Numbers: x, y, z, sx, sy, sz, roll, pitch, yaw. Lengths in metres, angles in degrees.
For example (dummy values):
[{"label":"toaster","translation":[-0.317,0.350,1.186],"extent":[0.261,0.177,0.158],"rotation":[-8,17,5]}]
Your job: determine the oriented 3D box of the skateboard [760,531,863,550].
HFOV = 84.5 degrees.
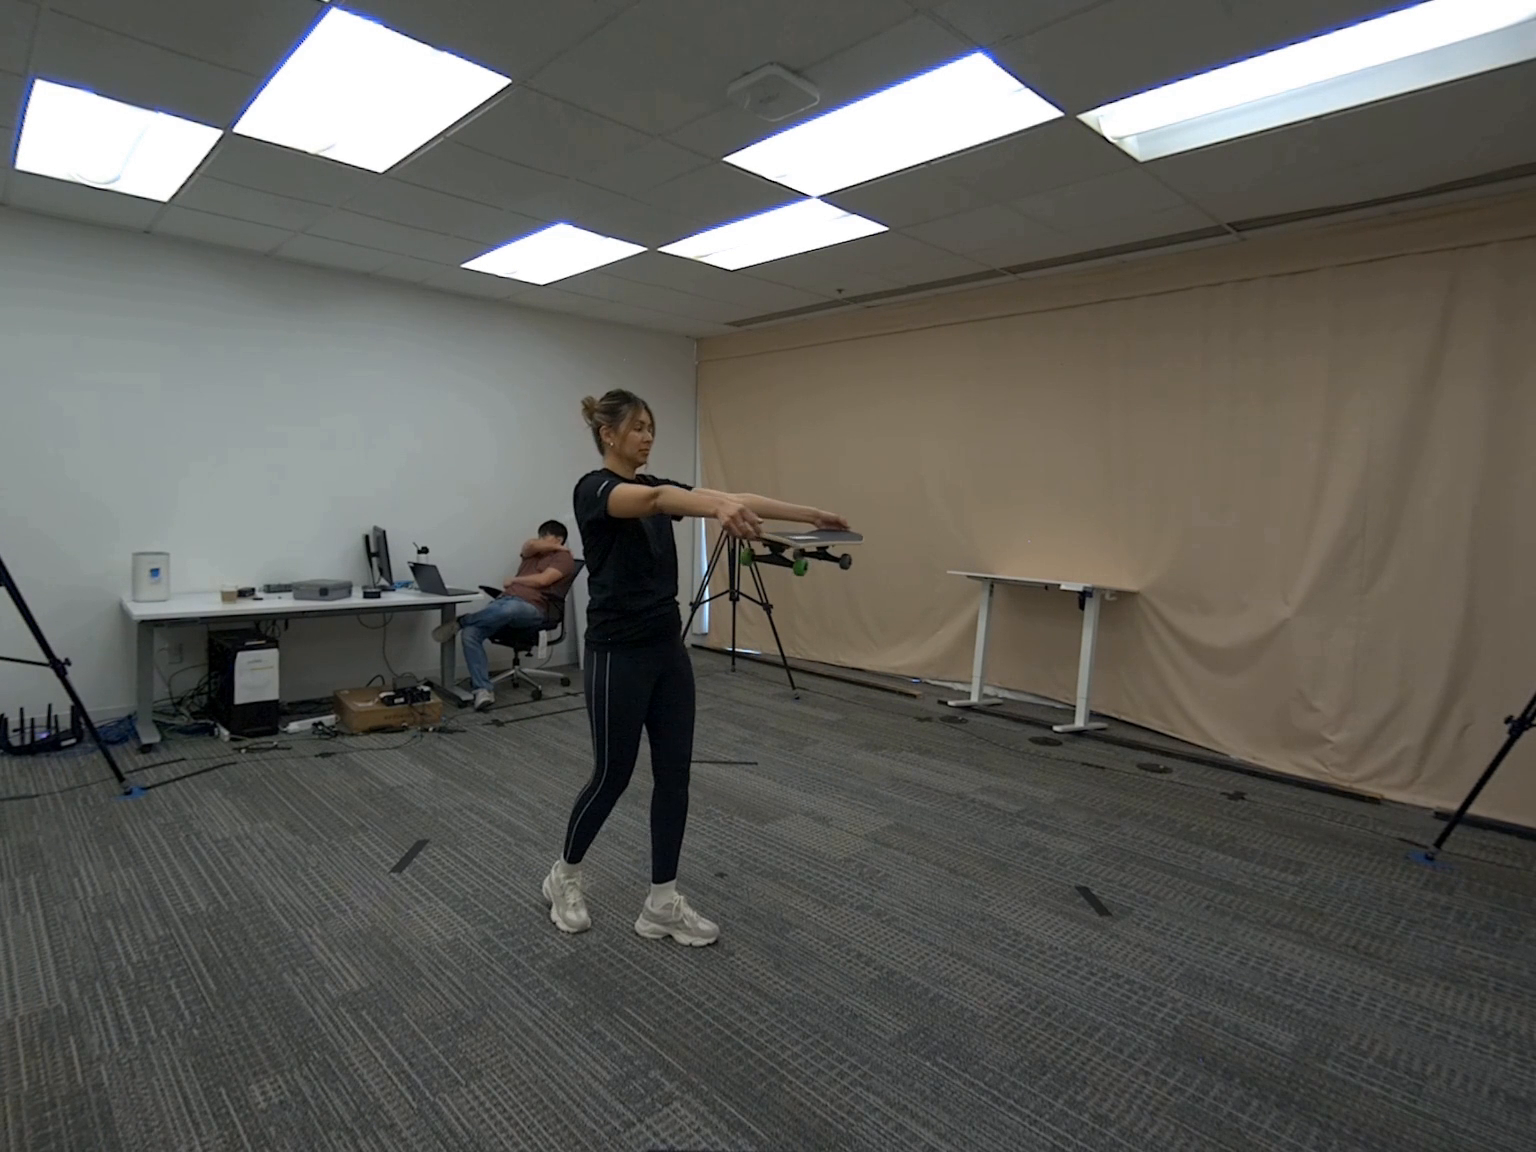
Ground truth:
[{"label":"skateboard","translation":[0.100,-0.082,2.415],"extent":[0.197,0.110,0.775],"rotation":[14,7,17]}]
